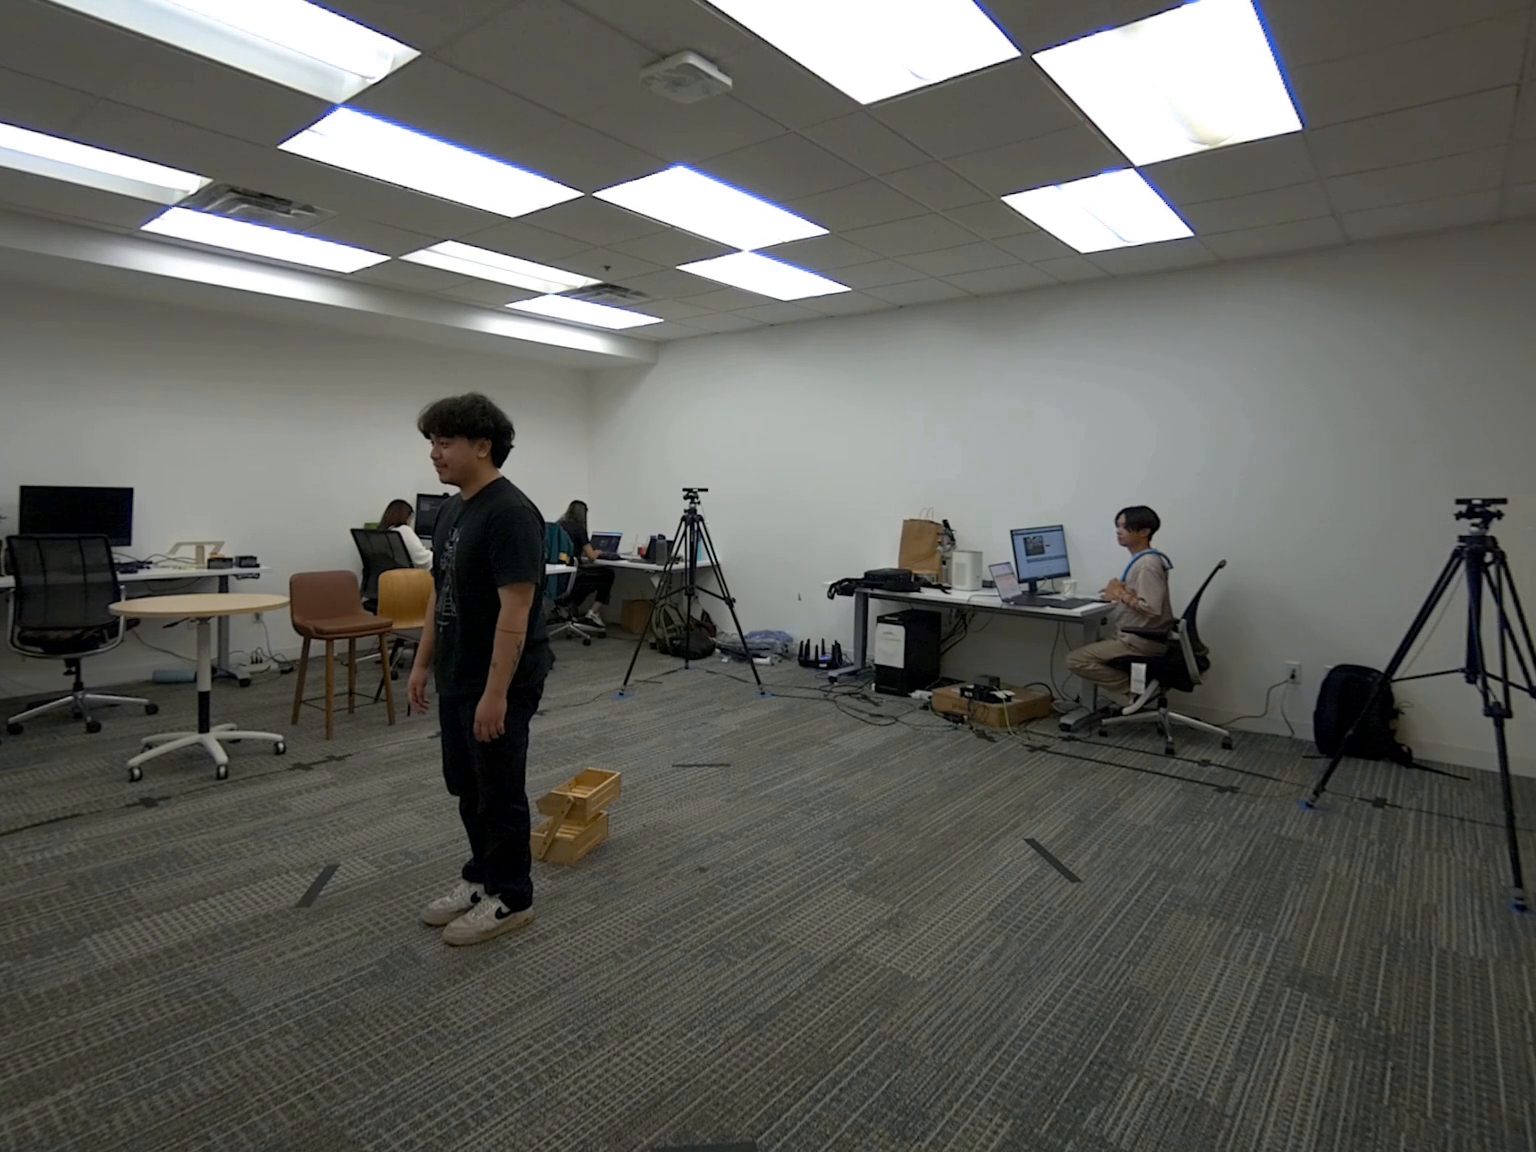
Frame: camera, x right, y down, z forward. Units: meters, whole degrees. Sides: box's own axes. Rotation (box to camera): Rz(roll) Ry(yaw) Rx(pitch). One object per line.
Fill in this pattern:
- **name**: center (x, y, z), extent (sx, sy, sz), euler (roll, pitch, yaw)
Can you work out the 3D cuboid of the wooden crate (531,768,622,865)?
- **wooden crate**: center (-0.788, 0.911, 3.289), extent (0.308, 0.272, 0.319), euler (3, 5, 17)
